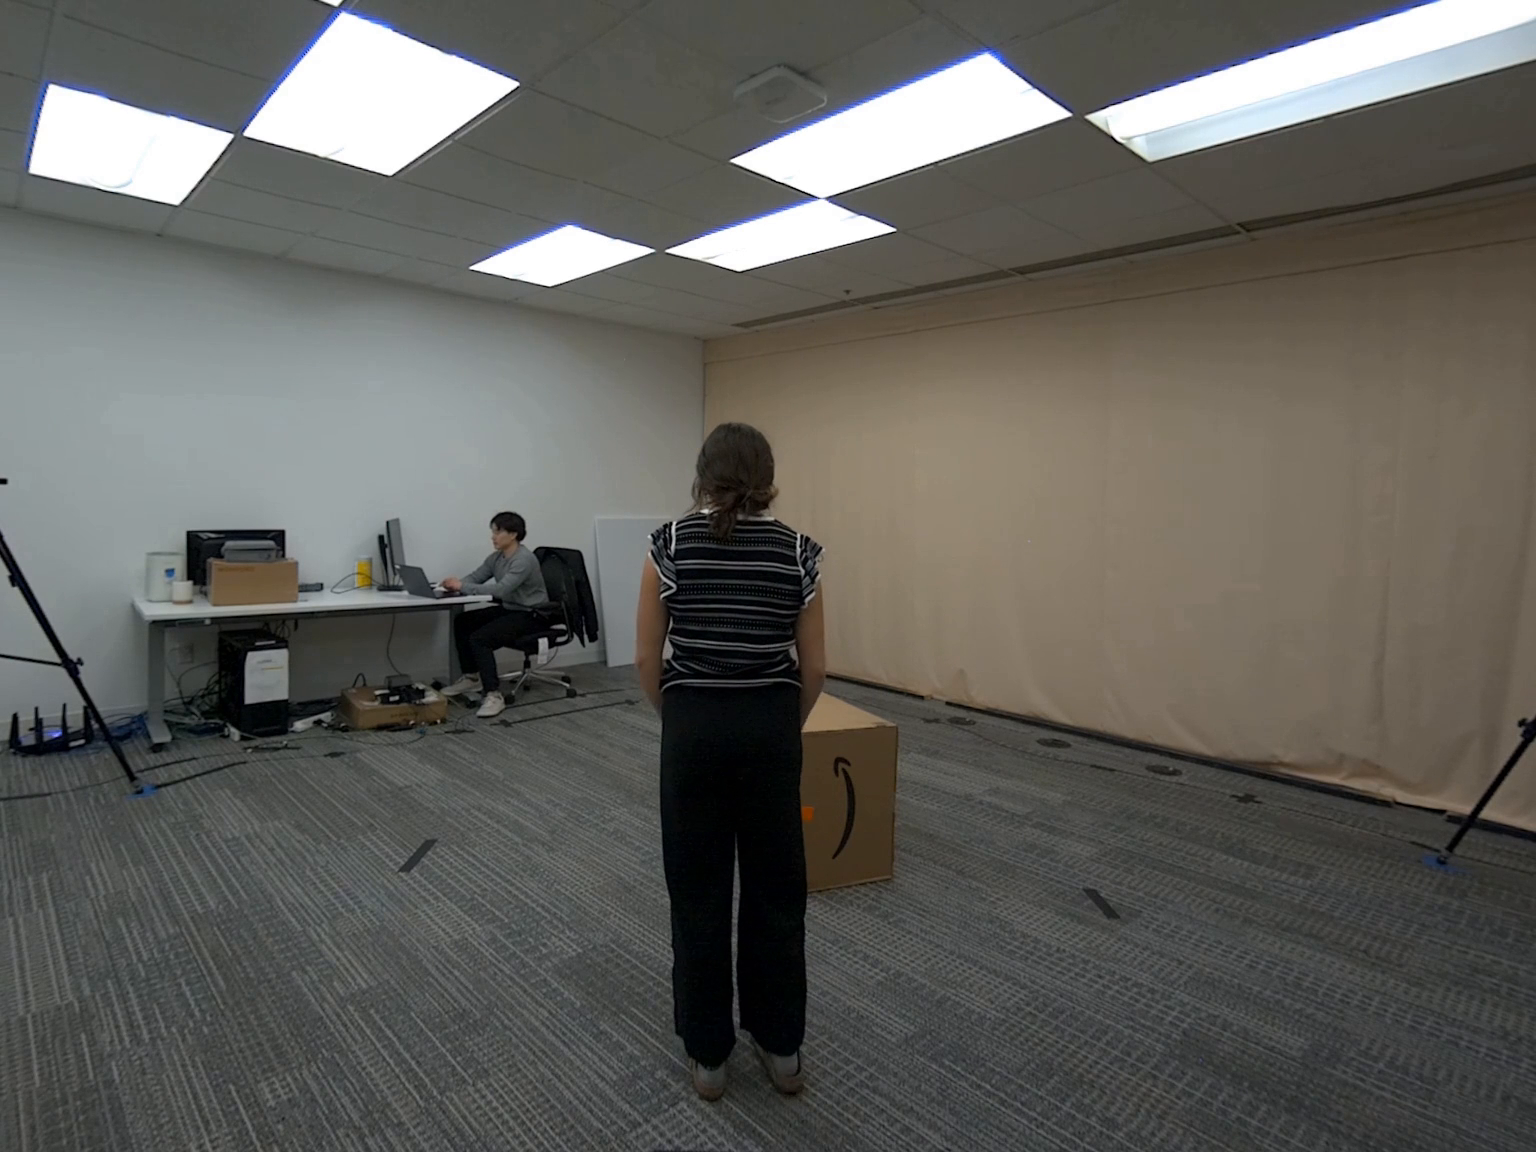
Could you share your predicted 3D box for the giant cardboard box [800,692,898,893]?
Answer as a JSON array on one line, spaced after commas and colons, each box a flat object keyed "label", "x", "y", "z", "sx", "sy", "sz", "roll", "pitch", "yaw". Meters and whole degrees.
[{"label": "giant cardboard box", "x": 0.063, "y": 0.794, "z": 3.490, "sx": 0.419, "sy": 0.576, "sz": 1.045, "roll": 1, "pitch": 4, "yaw": -23}]
